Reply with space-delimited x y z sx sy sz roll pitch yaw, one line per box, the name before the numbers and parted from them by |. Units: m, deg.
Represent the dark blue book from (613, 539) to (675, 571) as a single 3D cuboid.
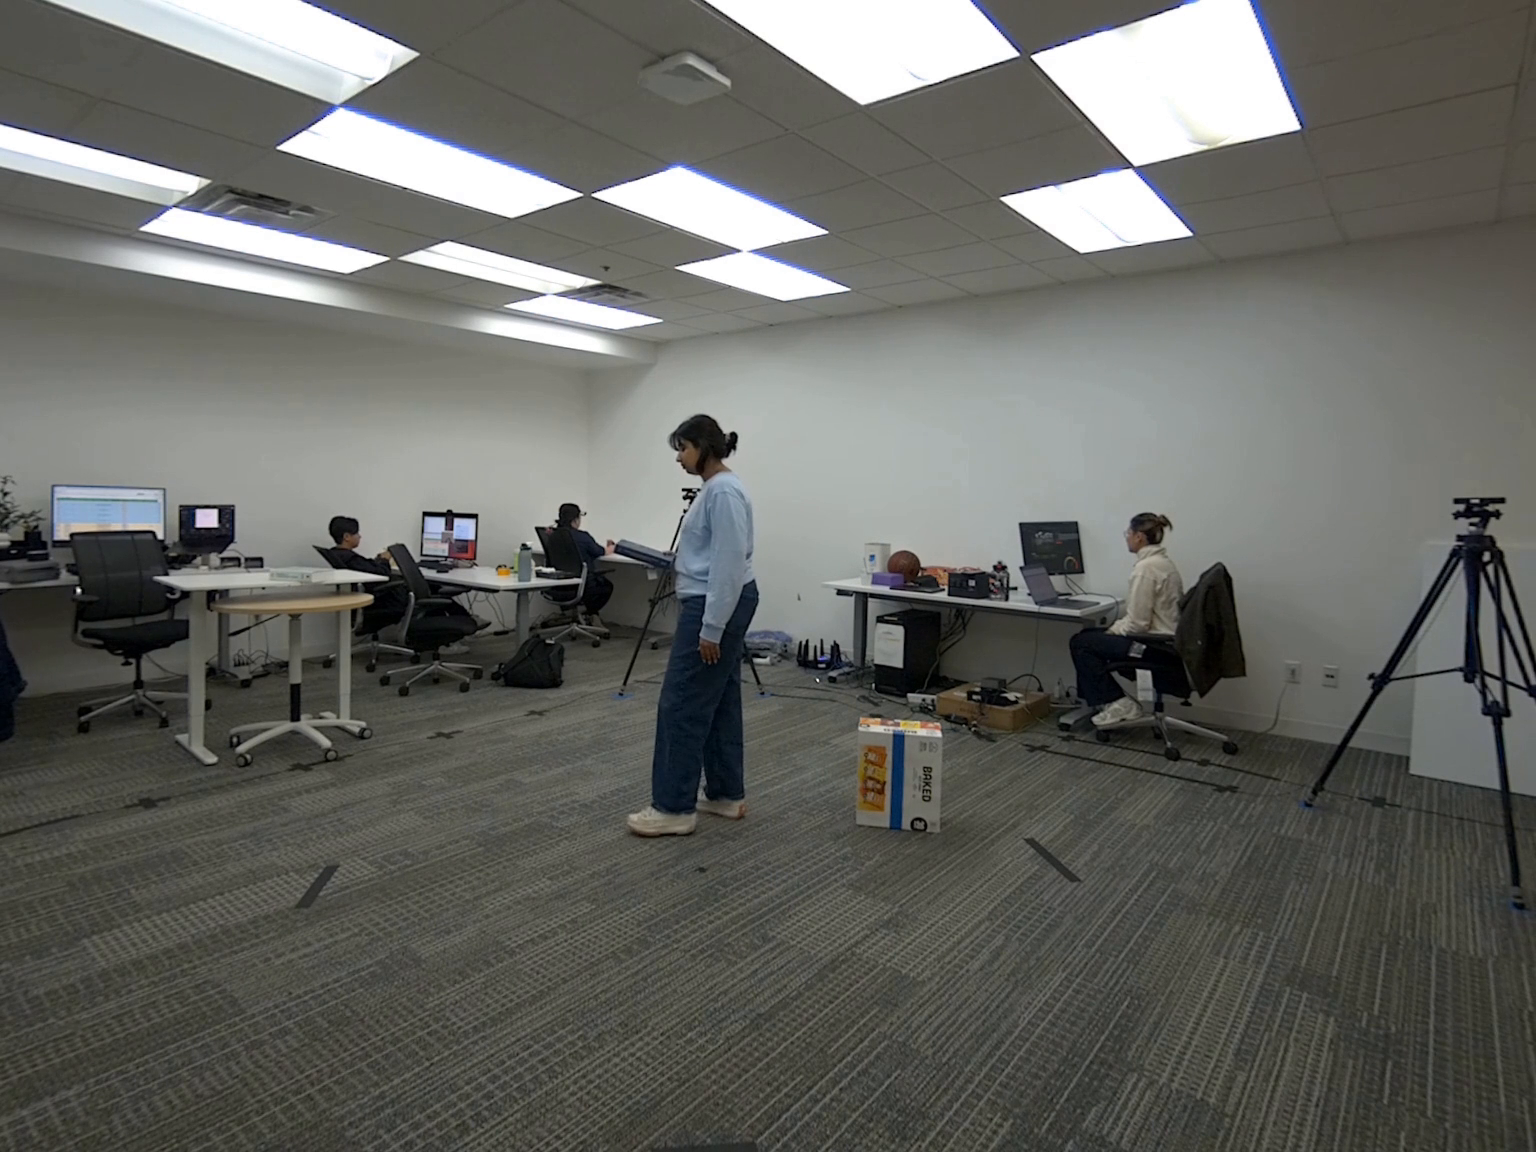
dark blue book | -0.543 -0.098 3.637 0.245 0.045 0.164 16 9 1
